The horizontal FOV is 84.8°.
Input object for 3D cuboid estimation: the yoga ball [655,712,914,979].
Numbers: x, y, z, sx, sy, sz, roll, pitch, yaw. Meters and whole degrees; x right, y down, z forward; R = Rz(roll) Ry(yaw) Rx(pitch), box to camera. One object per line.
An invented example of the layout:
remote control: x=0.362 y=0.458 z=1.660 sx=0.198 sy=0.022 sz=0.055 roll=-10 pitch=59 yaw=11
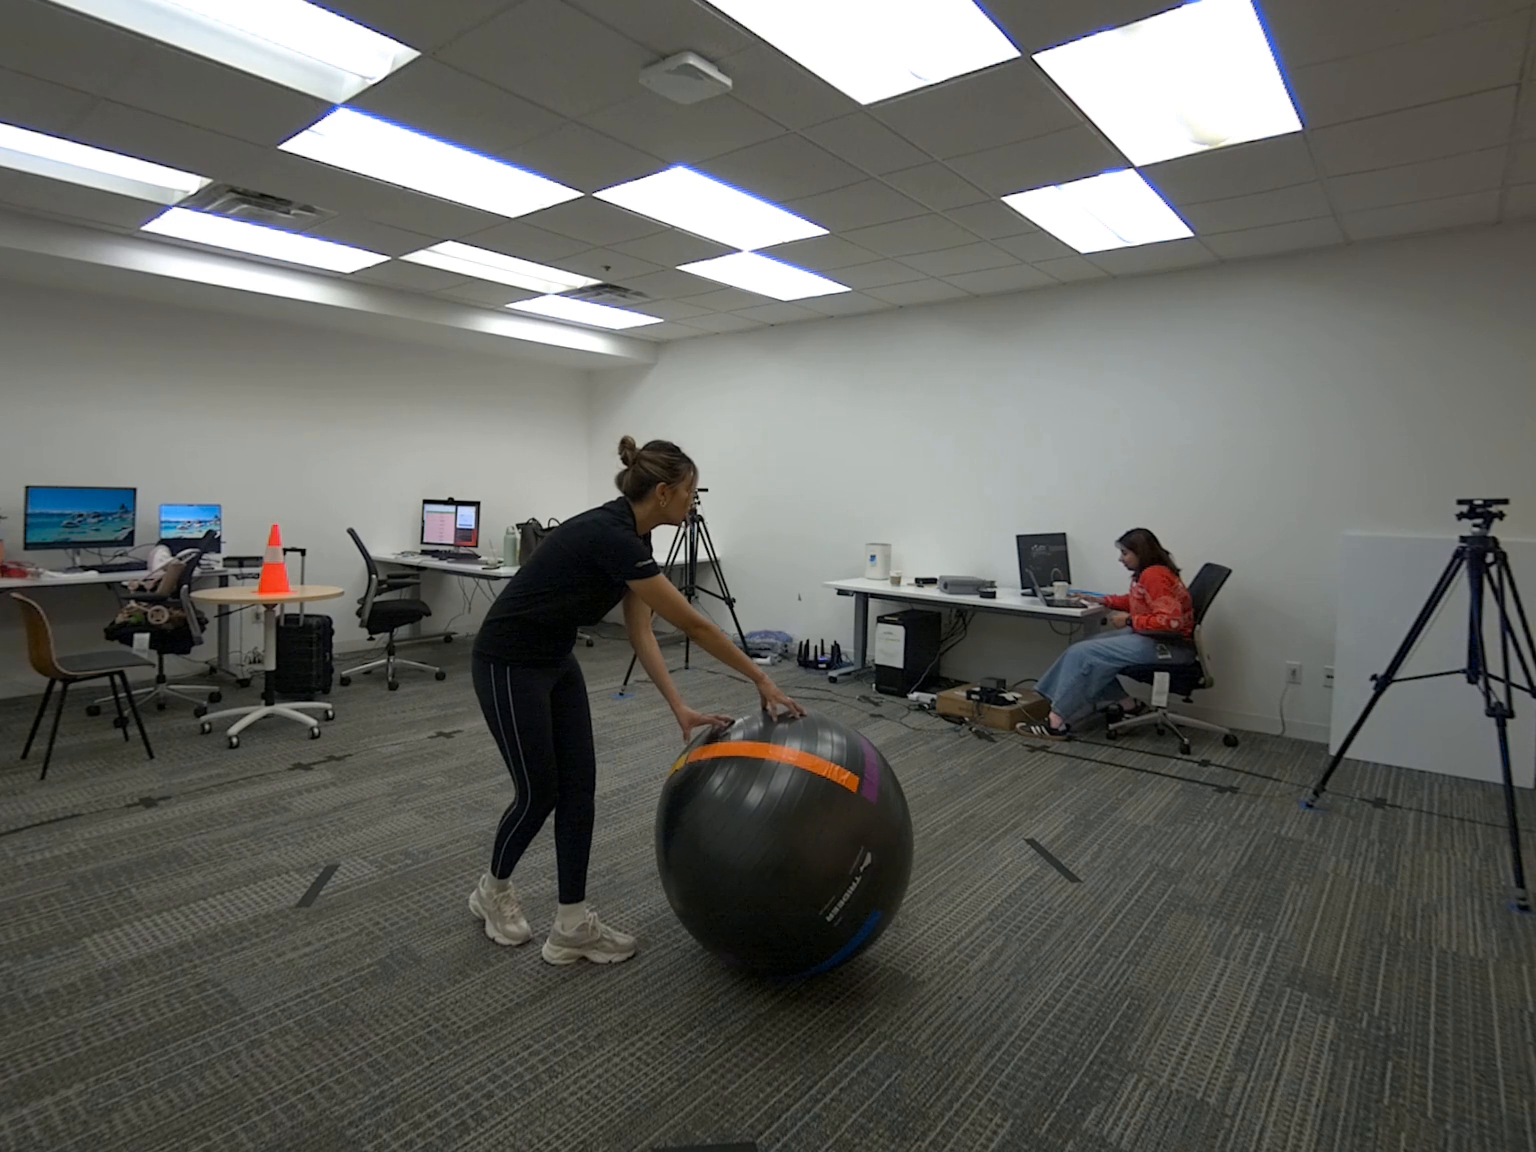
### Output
yoga ball: x=0.039 y=0.763 z=2.511 sx=0.757 sy=0.755 sz=0.762 roll=1 pitch=4 yaw=-2
